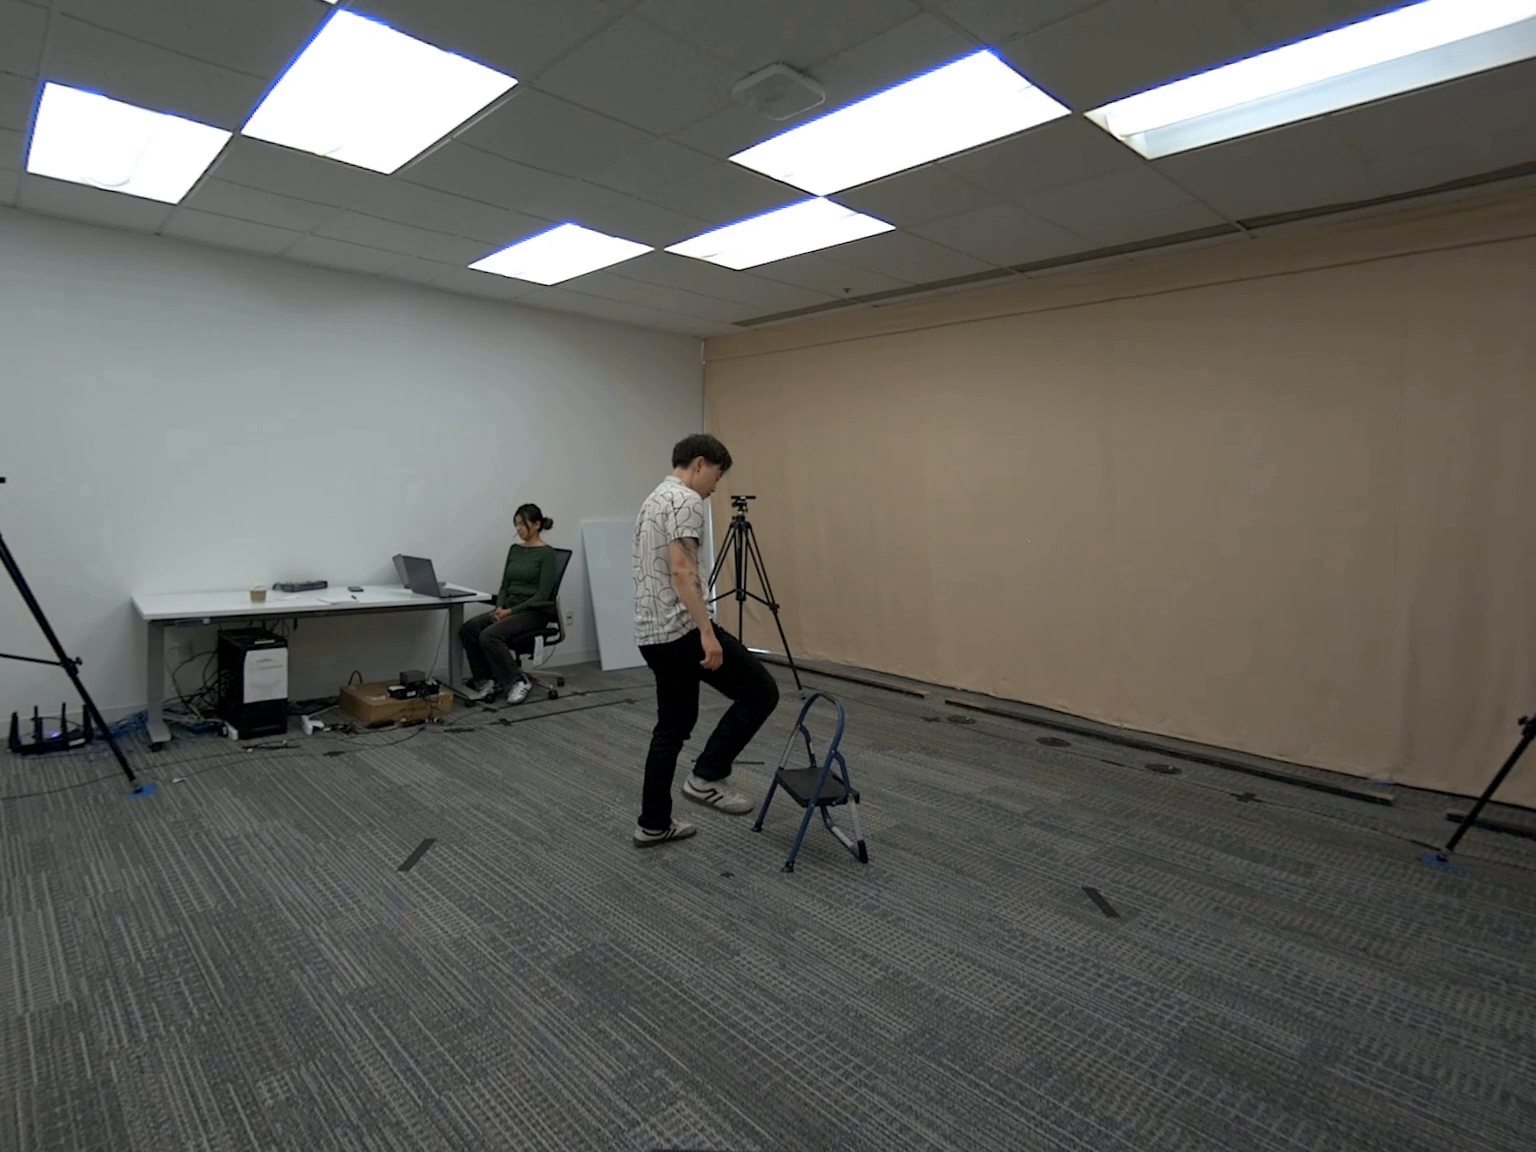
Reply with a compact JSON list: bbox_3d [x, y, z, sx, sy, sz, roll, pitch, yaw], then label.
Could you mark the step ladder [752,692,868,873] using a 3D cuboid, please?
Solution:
[{"bbox_3d":[0.160,0.784,3.362,0.345,0.604,0.437,0,4,-17],"label":"step ladder"}]
